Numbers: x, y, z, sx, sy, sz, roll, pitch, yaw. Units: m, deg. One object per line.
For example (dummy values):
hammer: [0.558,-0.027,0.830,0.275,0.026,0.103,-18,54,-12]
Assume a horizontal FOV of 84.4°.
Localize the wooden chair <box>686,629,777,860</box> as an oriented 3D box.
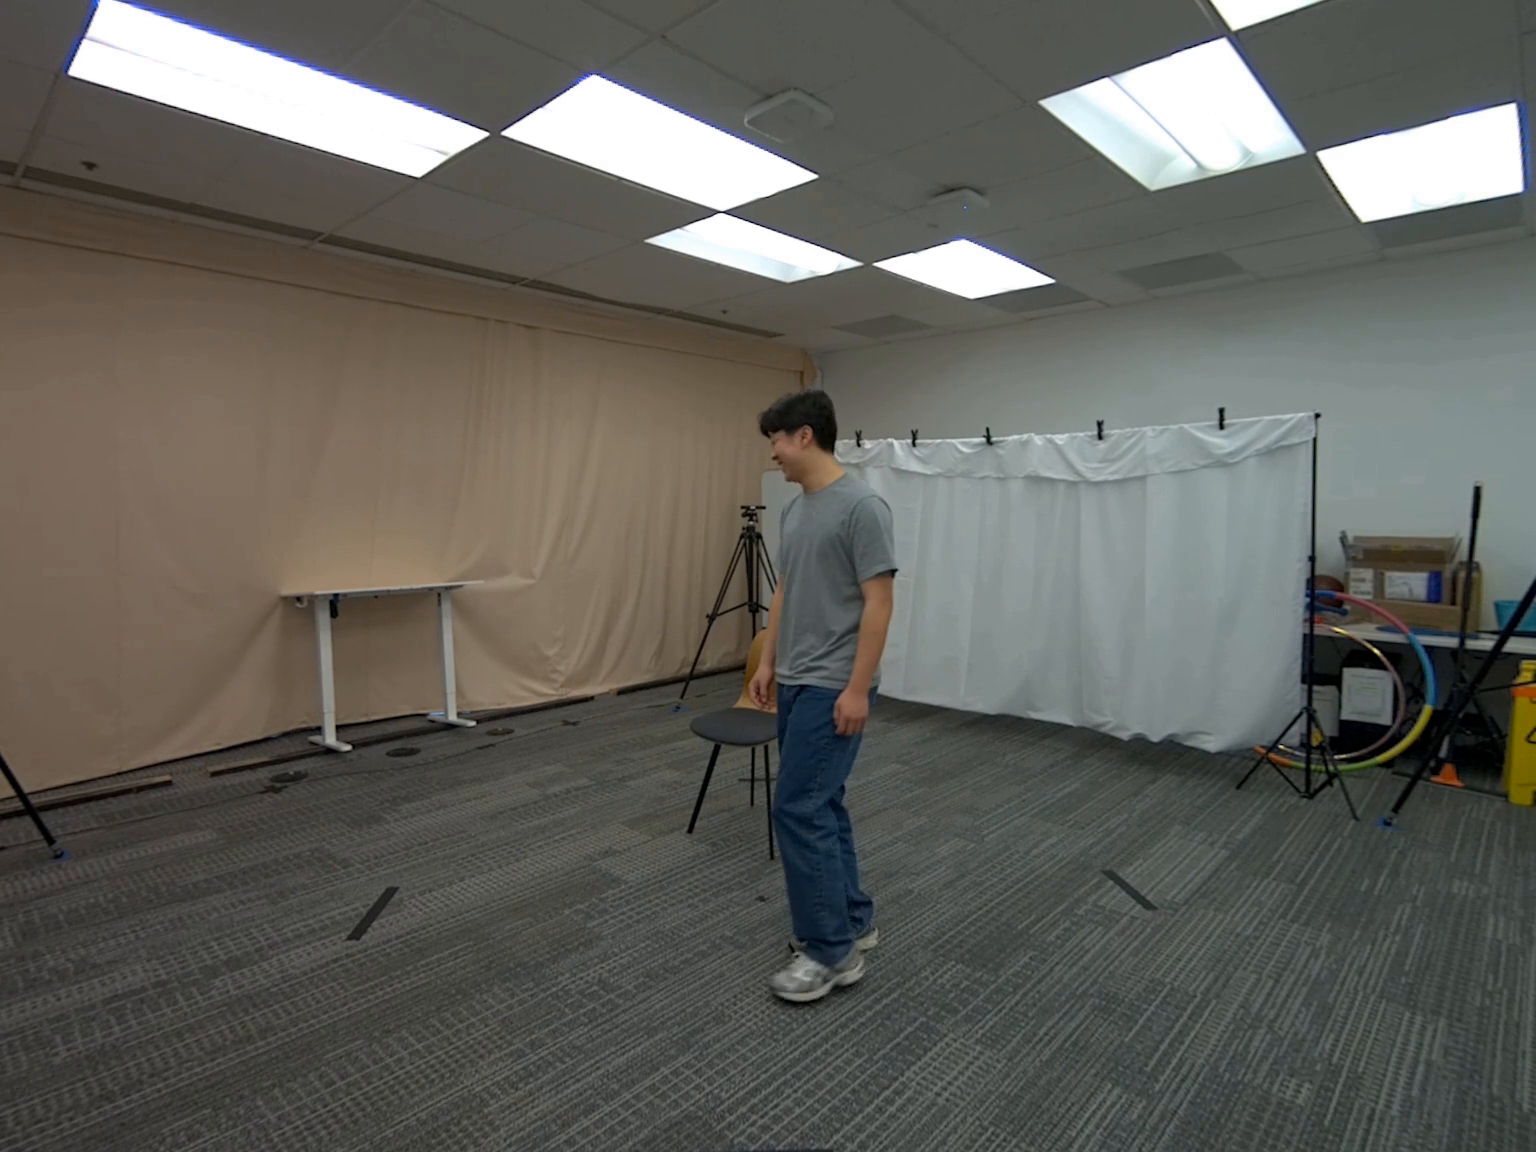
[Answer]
wooden chair: [-0.036,0.665,3.582,0.493,0.878,0.506,2,-1,38]
